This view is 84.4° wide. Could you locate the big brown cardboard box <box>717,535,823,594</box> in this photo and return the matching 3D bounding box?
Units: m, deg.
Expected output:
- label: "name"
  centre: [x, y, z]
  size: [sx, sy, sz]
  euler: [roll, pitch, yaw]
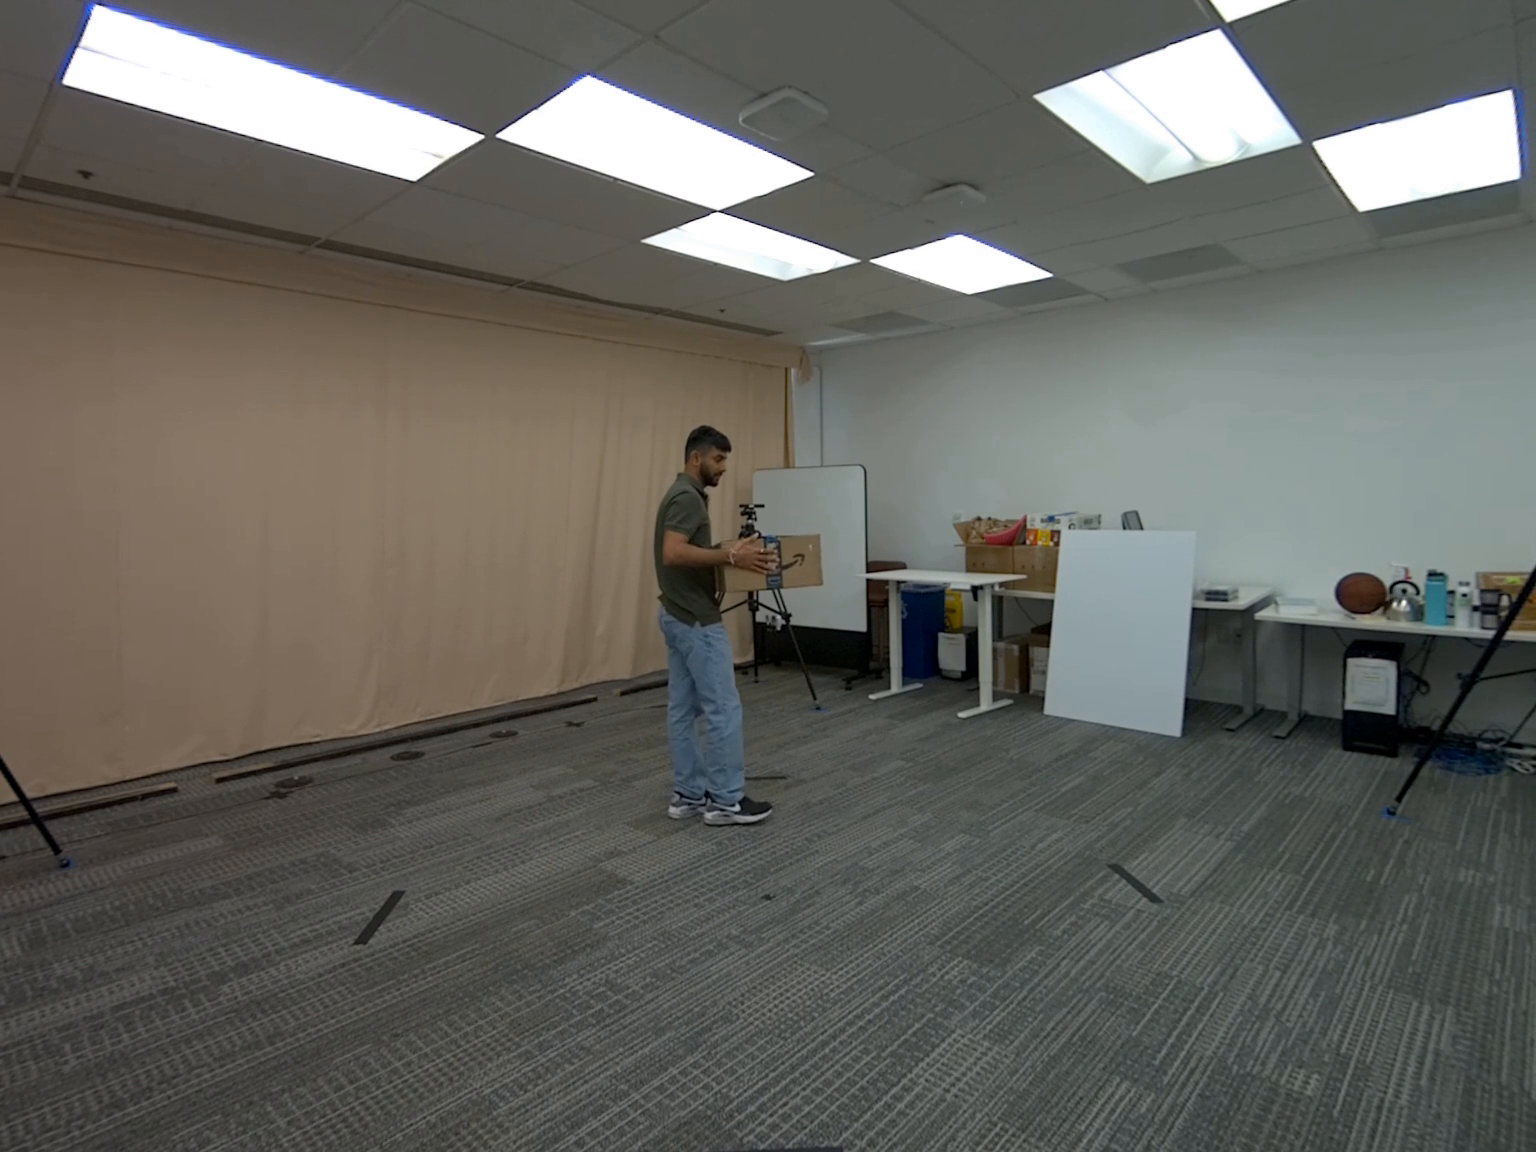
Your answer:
- label: "big brown cardboard box"
  centre: [-0.014, -0.057, 3.776]
  size: [0.415, 0.233, 0.592]
  euler: [-5, 0, -7]
